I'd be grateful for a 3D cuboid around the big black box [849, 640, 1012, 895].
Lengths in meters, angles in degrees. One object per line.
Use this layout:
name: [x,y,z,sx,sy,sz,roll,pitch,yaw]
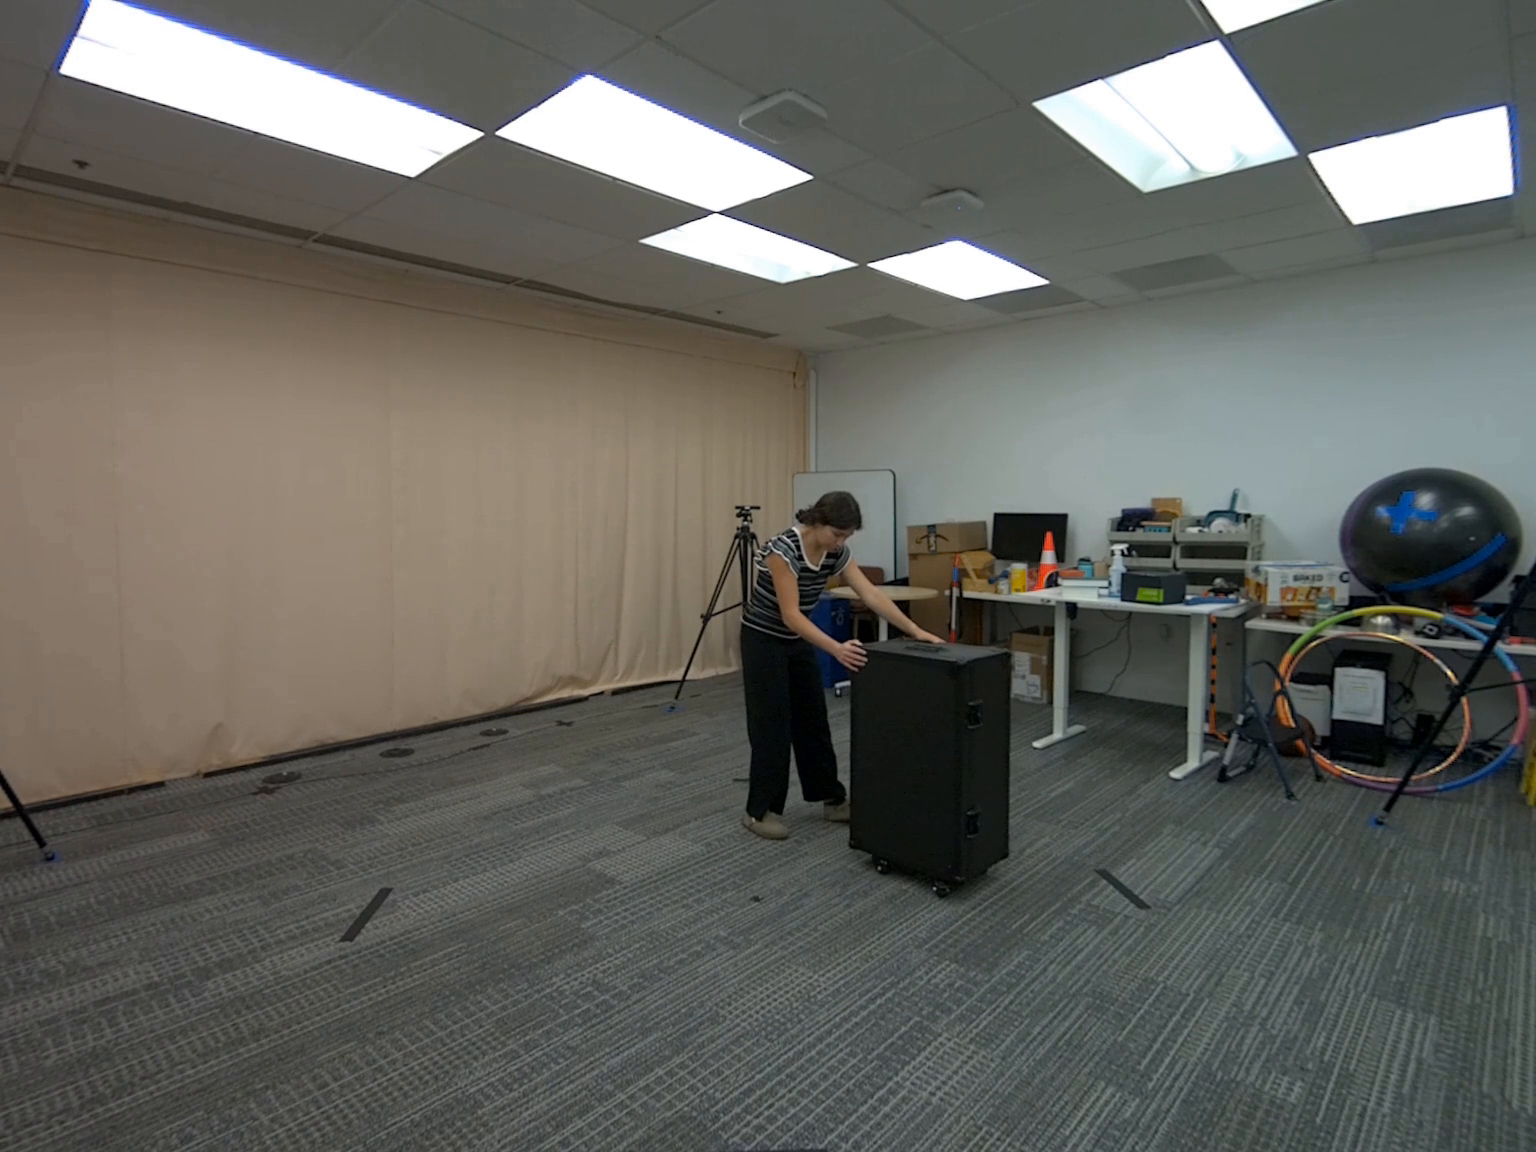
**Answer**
big black box: [0.618,0.699,3.208,0.538,0.861,0.384,2,2,44]
